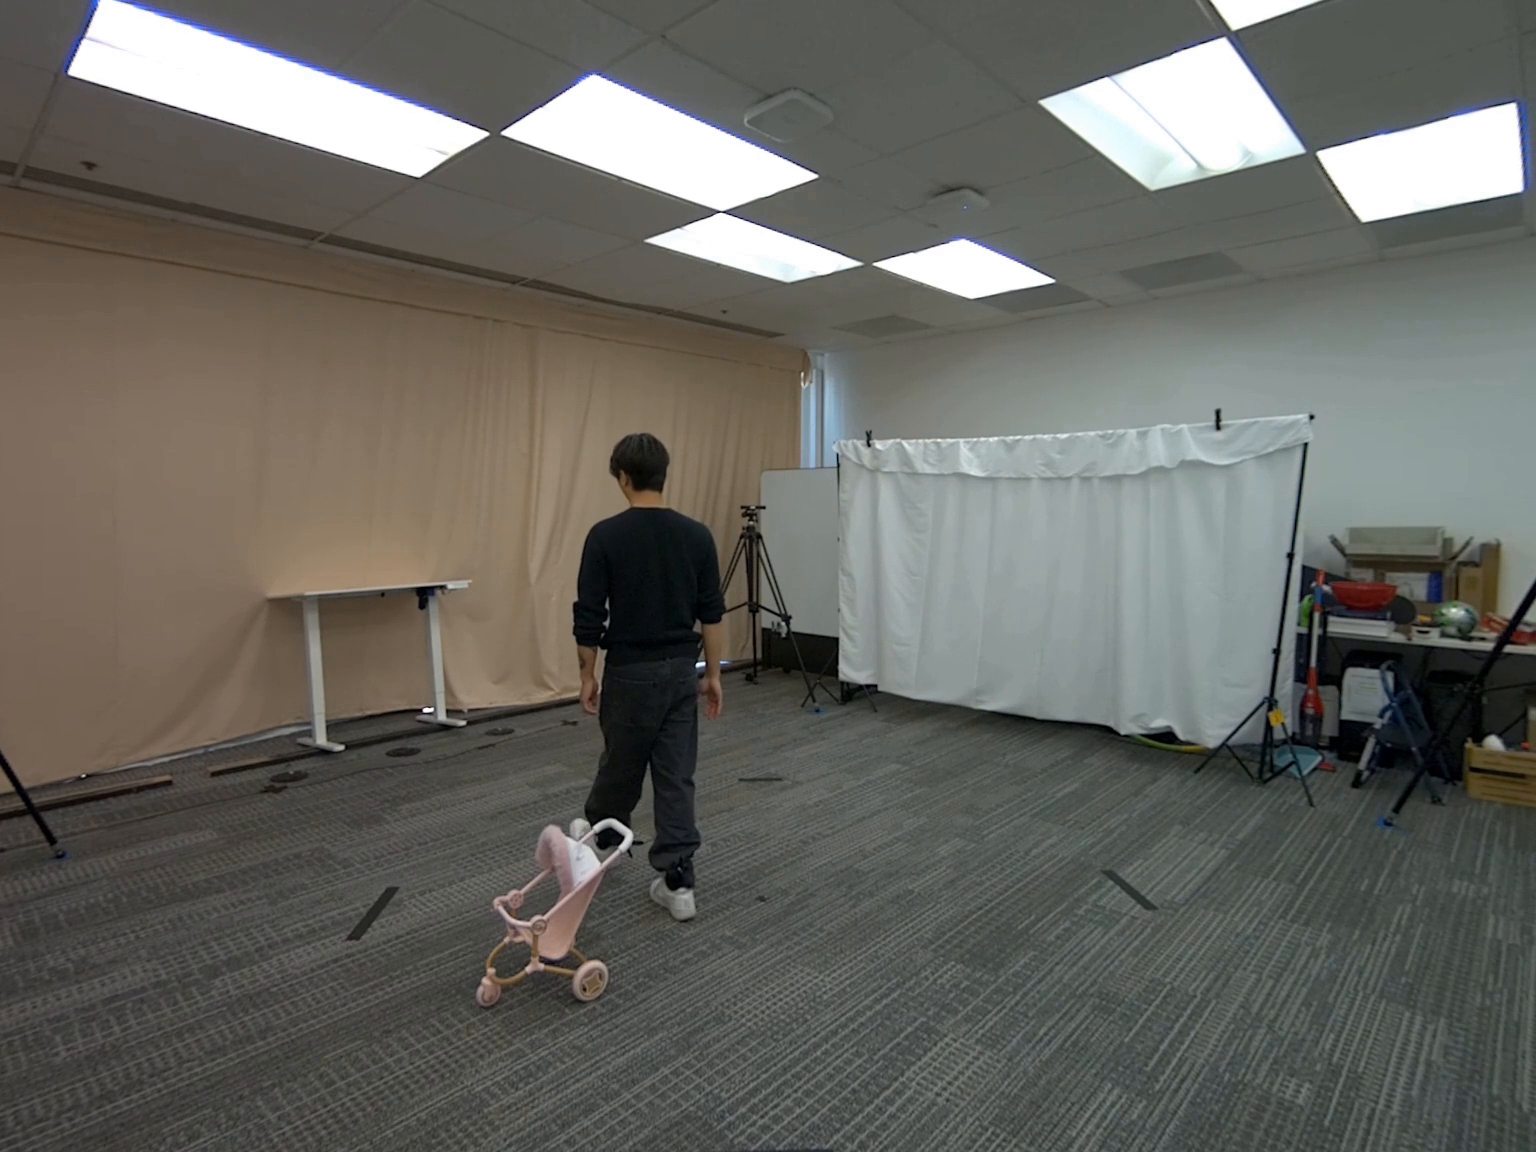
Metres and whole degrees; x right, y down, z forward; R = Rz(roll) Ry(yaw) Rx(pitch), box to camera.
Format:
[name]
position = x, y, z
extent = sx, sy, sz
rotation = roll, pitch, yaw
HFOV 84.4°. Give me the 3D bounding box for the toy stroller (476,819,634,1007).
[toy stroller]
position = -0.623, 0.961, 2.445
extent = 0.331, 0.536, 0.289
rotation = 17, -5, -29
